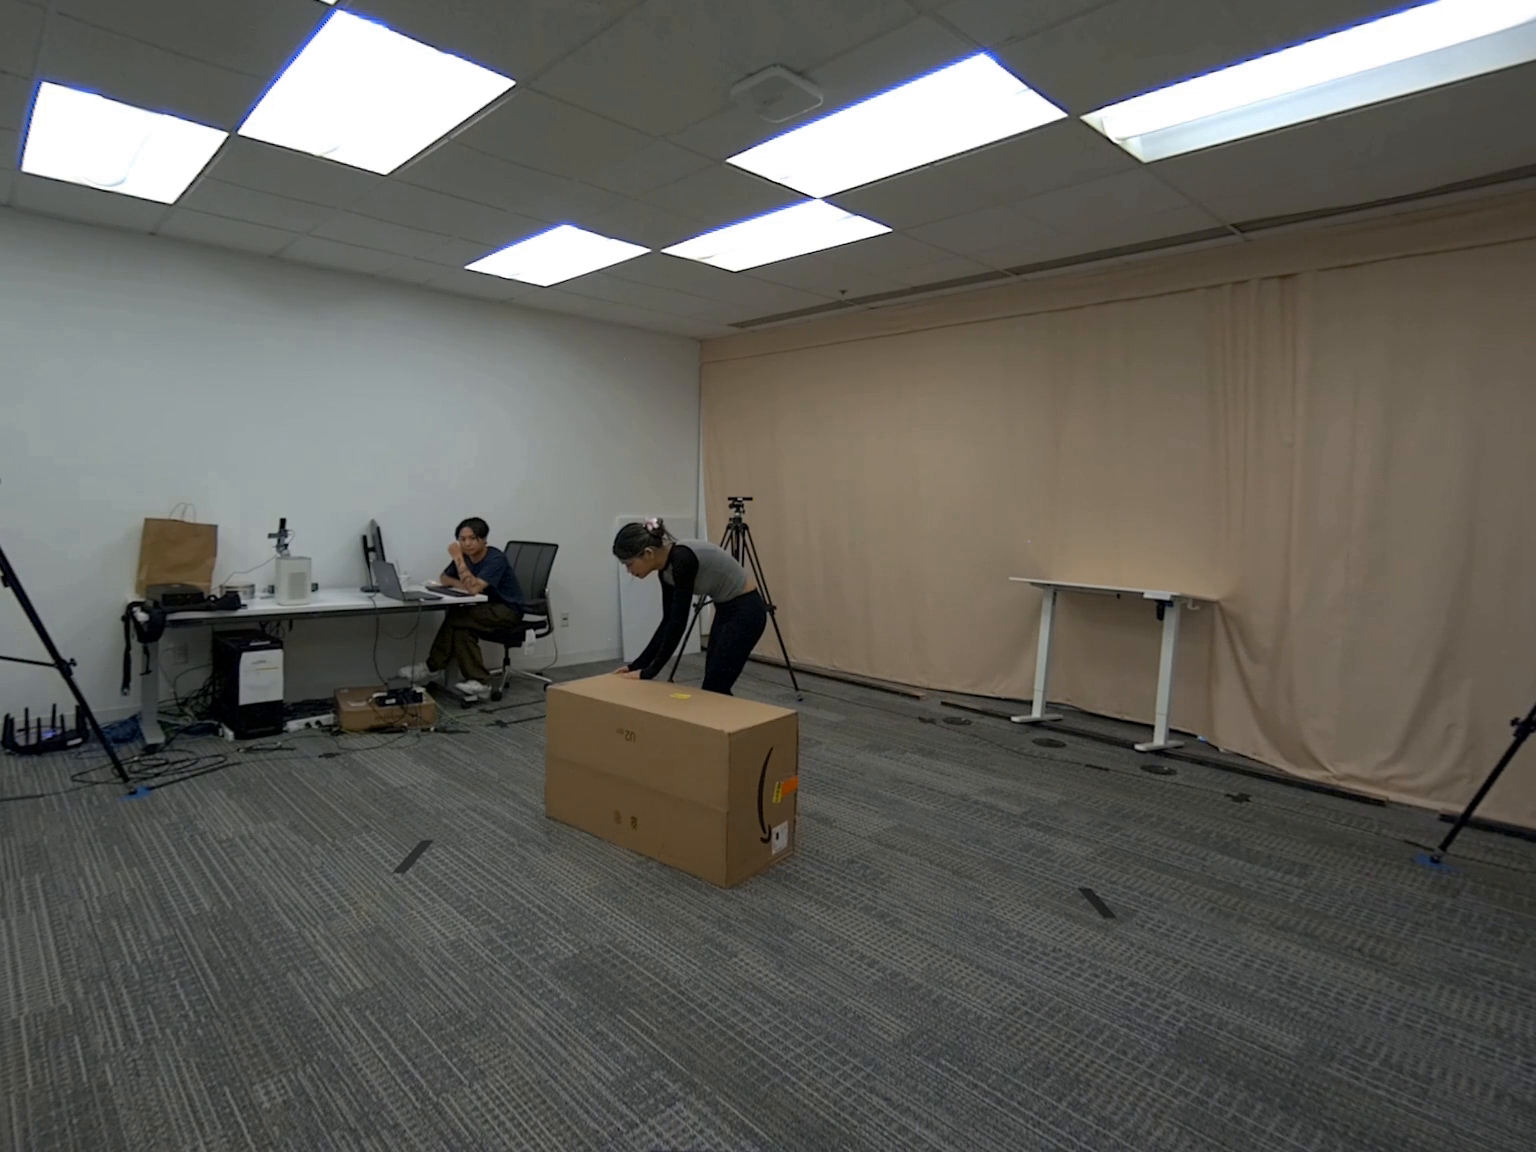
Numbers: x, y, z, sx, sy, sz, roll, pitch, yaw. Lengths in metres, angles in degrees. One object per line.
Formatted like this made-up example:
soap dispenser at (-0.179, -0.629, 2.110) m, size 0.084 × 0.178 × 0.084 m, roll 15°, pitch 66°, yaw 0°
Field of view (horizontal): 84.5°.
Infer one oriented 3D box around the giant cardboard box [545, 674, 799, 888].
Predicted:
giant cardboard box at (-0.422, 0.783, 3.455) m, size 1.053 × 0.582 × 0.437 m, roll 5°, pitch 4°, yaw 38°
